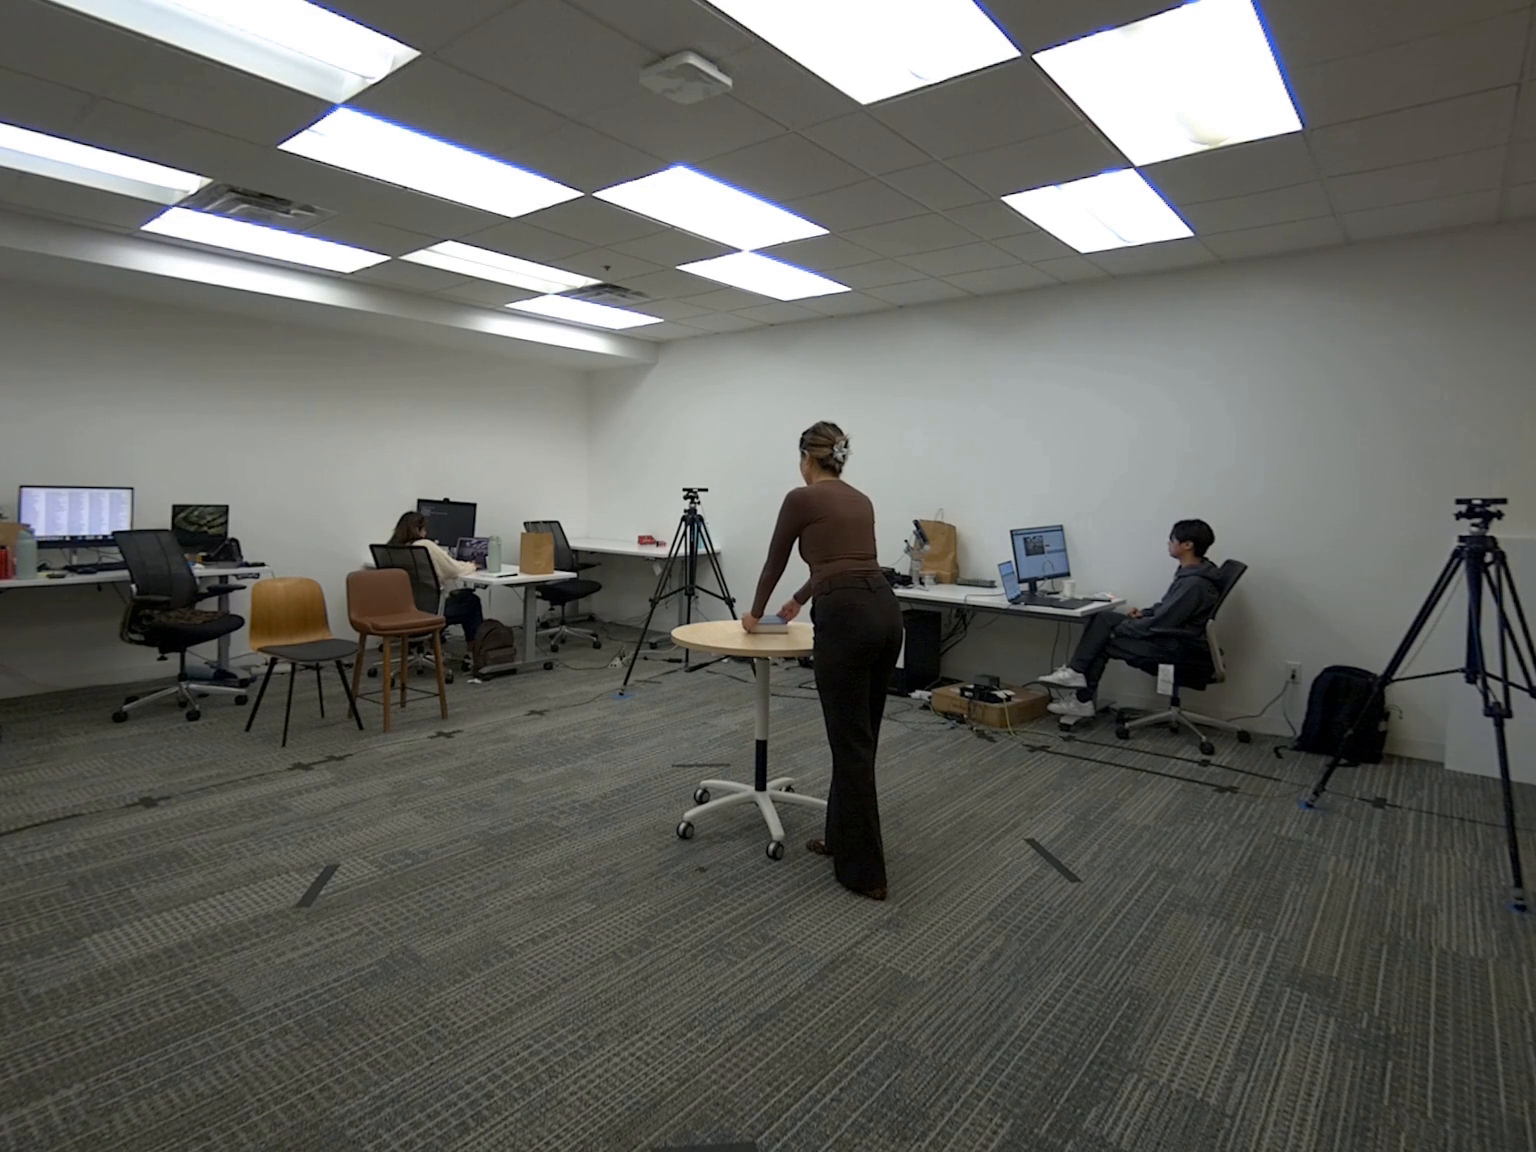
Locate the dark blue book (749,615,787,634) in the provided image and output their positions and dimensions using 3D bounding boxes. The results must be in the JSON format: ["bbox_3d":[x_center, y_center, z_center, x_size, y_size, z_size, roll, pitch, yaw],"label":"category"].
[{"bbox_3d":[-0.021,0.205,3.662,0.163,0.045,0.247,1,6,-5],"label":"dark blue book"}]
